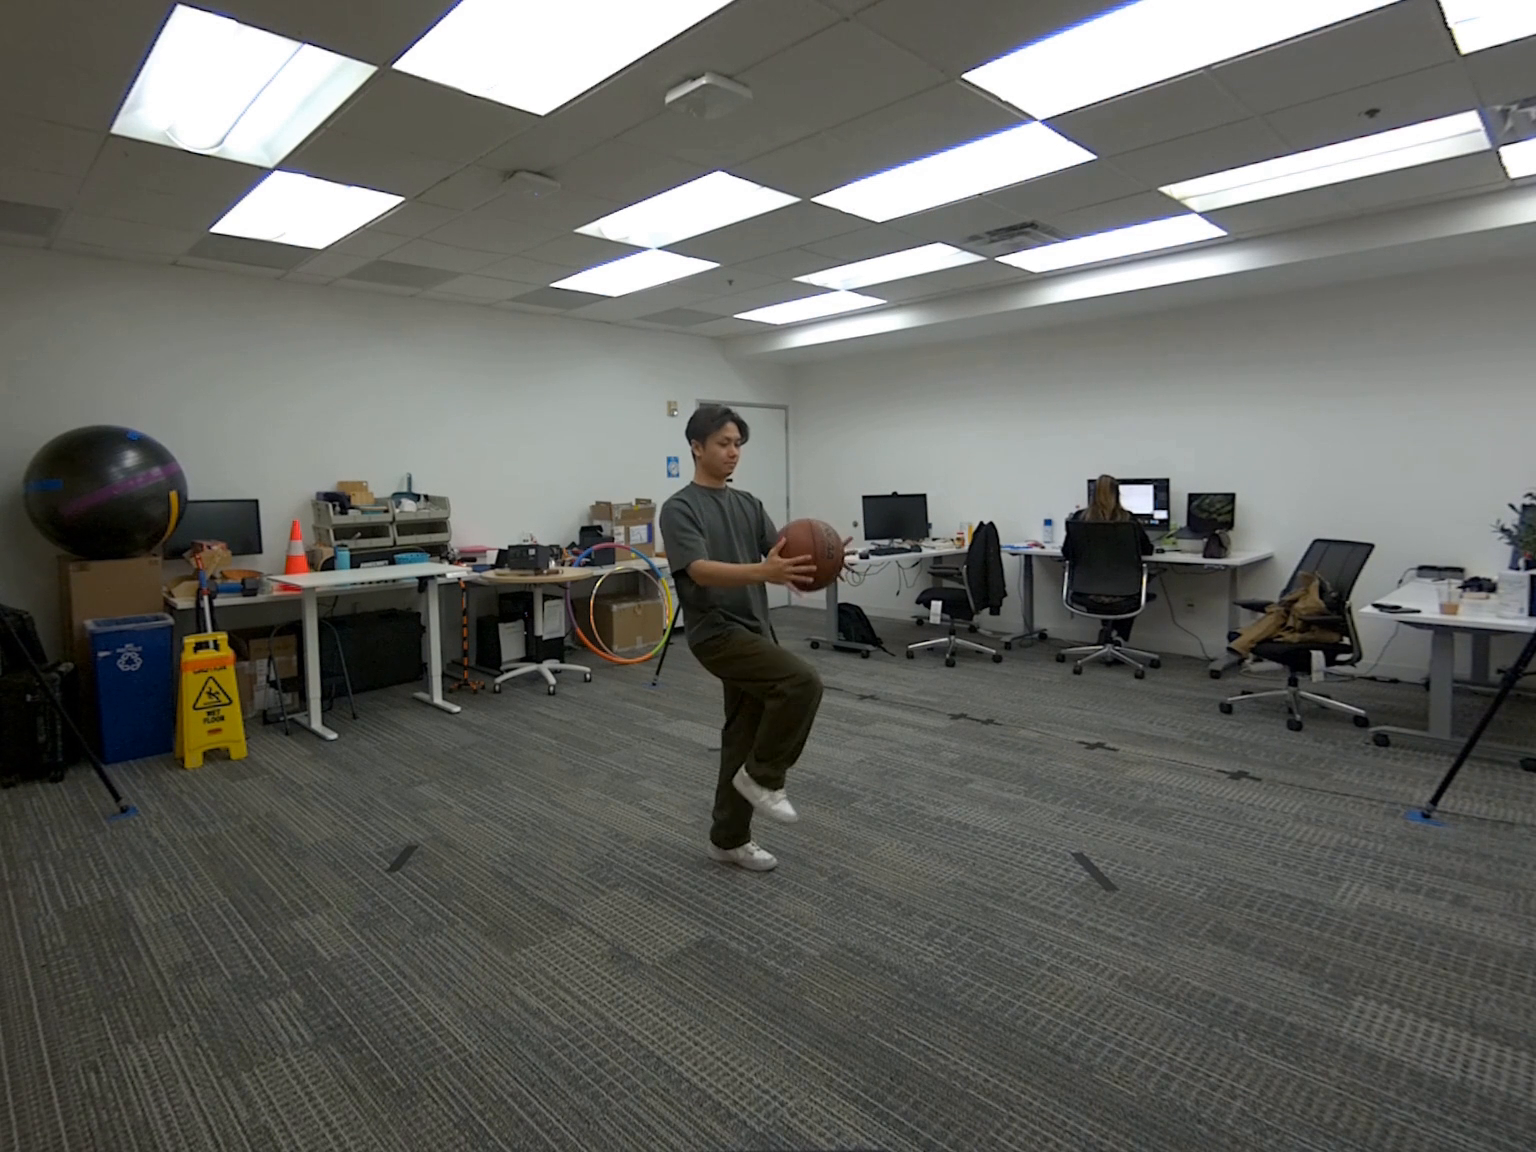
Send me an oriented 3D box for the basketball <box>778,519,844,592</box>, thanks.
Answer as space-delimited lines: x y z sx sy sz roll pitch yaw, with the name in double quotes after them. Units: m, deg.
0.135 -0.067 2.757 0.236 0.235 0.237 -1 5 -2 "basketball"
